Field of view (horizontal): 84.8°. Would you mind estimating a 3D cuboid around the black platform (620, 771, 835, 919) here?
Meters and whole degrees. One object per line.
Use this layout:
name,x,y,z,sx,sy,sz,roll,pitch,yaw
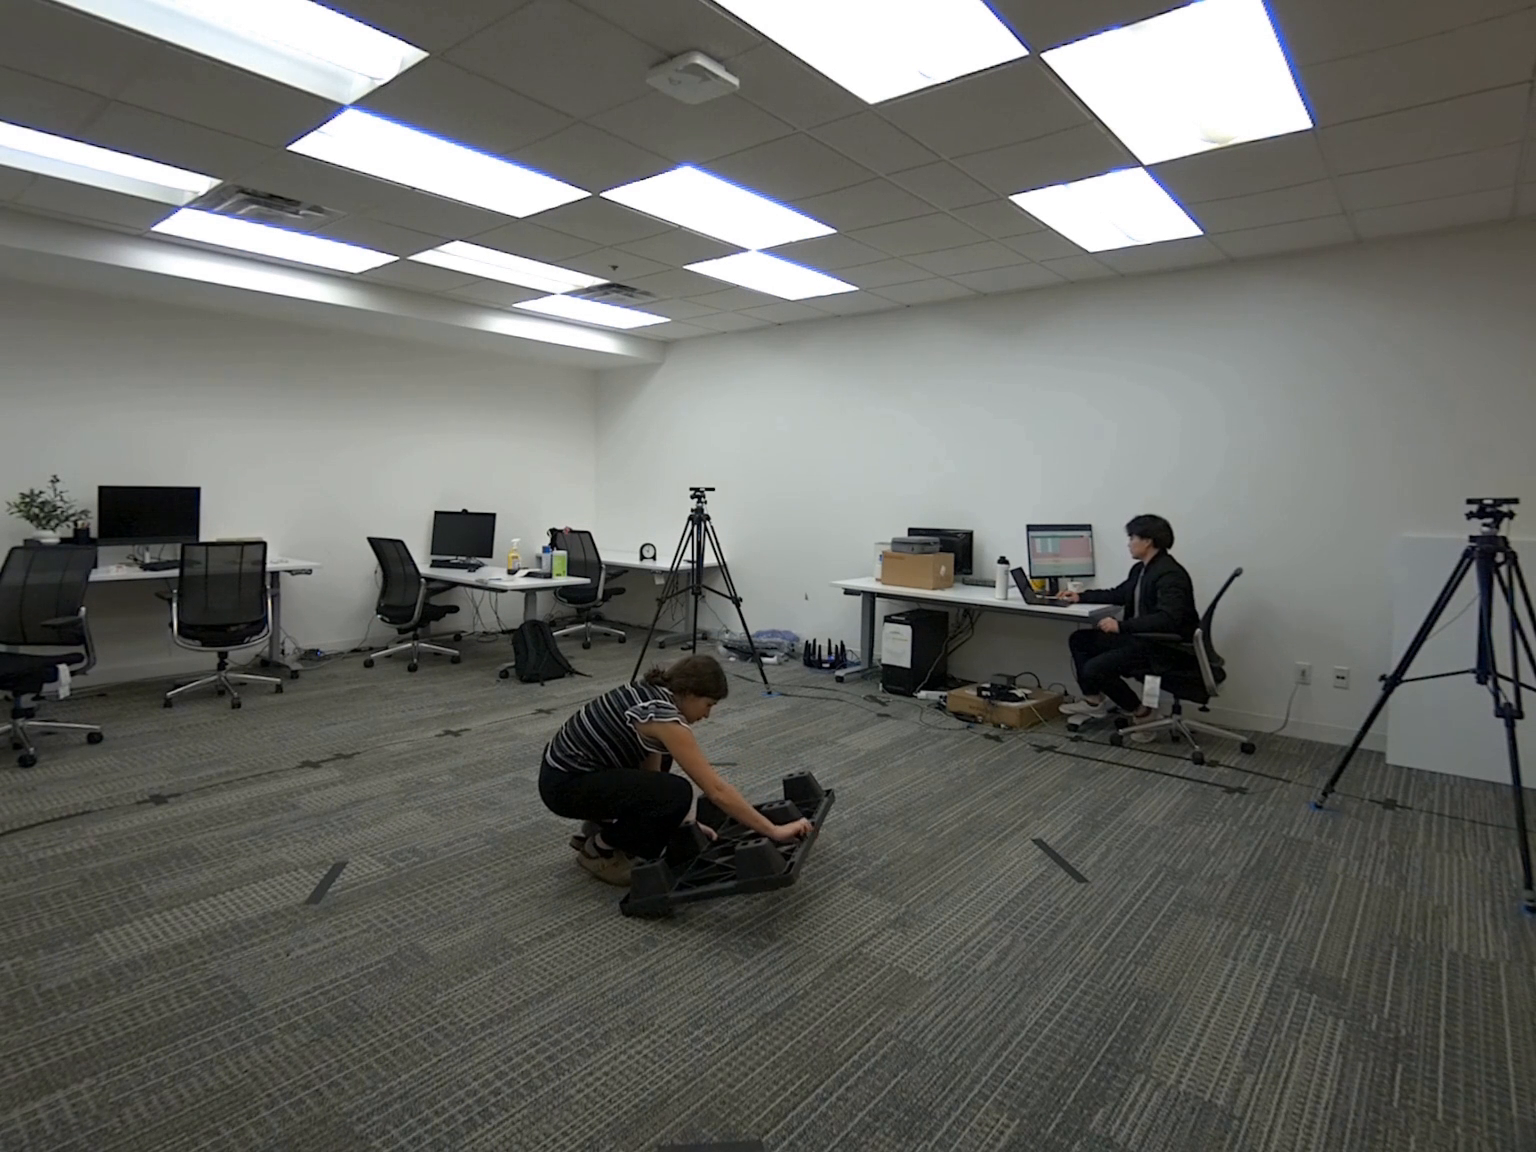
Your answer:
black platform,-0.131,0.929,3.038,0.612,0.143,0.795,-15,1,15
